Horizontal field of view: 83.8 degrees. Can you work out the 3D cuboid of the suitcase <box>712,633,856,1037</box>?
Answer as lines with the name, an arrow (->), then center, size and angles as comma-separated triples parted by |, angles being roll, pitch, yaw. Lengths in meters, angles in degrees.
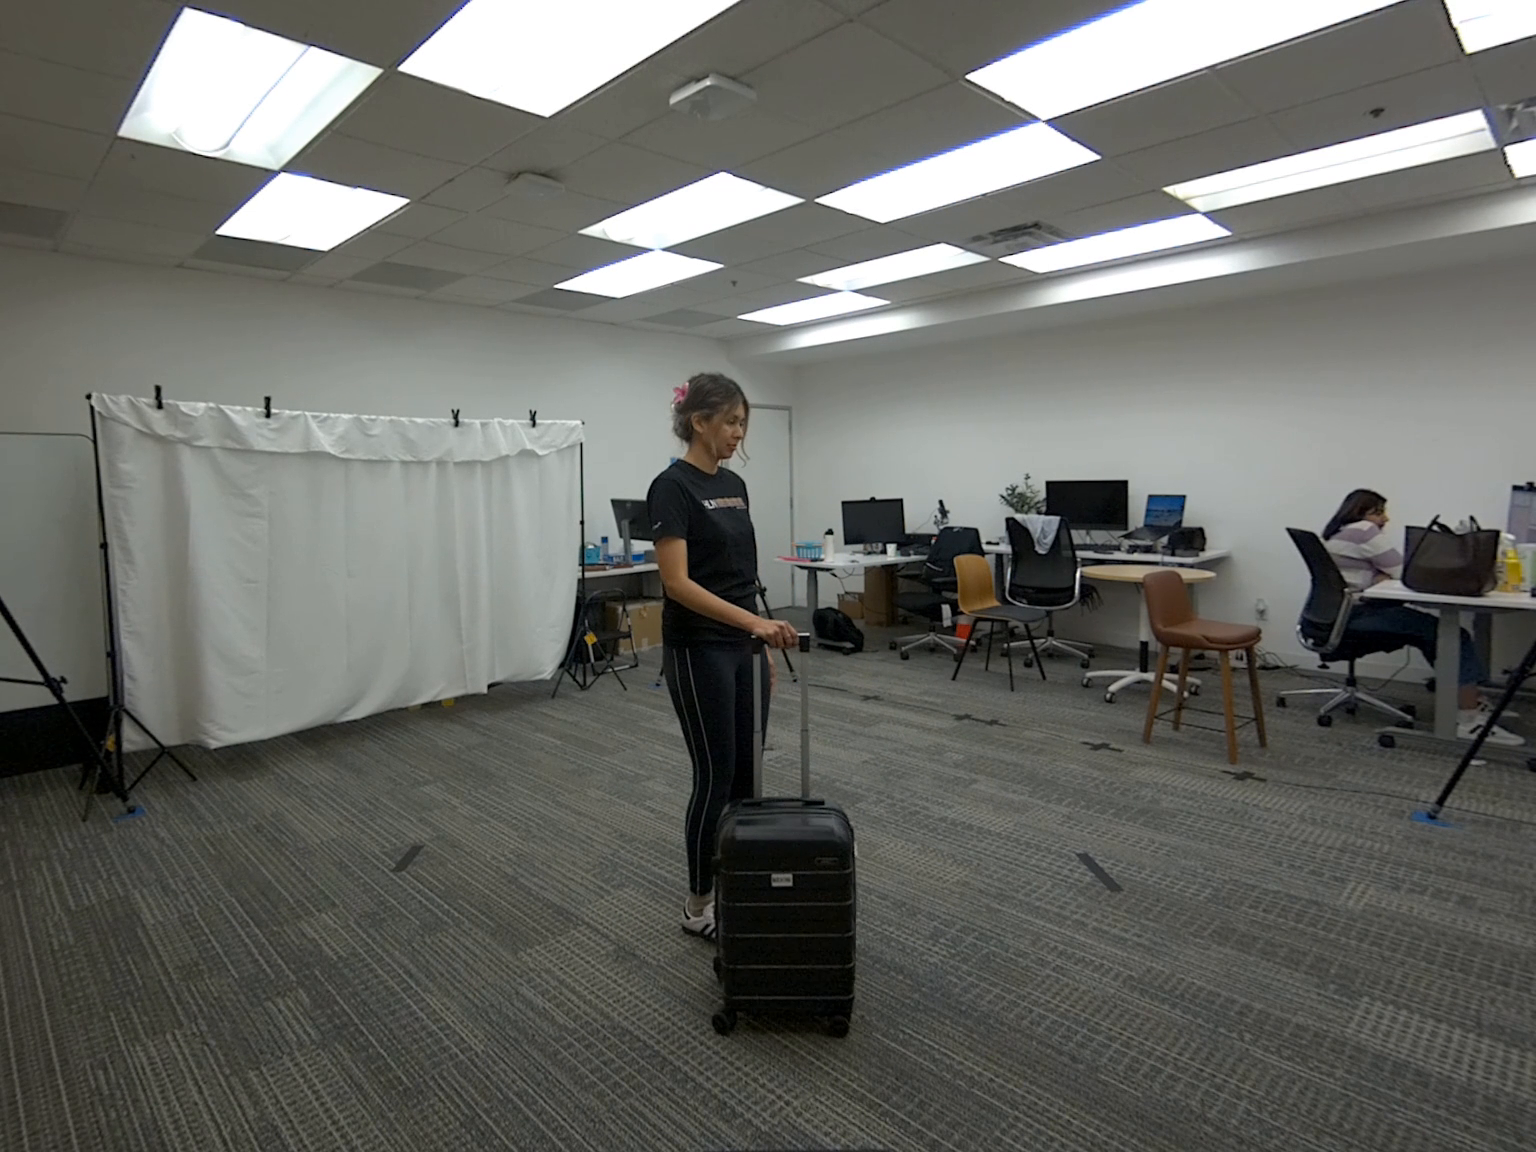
suitcase -> 0.049, 0.669, 2.230 | 0.385, 0.974, 0.257 | 0, 5, 2
